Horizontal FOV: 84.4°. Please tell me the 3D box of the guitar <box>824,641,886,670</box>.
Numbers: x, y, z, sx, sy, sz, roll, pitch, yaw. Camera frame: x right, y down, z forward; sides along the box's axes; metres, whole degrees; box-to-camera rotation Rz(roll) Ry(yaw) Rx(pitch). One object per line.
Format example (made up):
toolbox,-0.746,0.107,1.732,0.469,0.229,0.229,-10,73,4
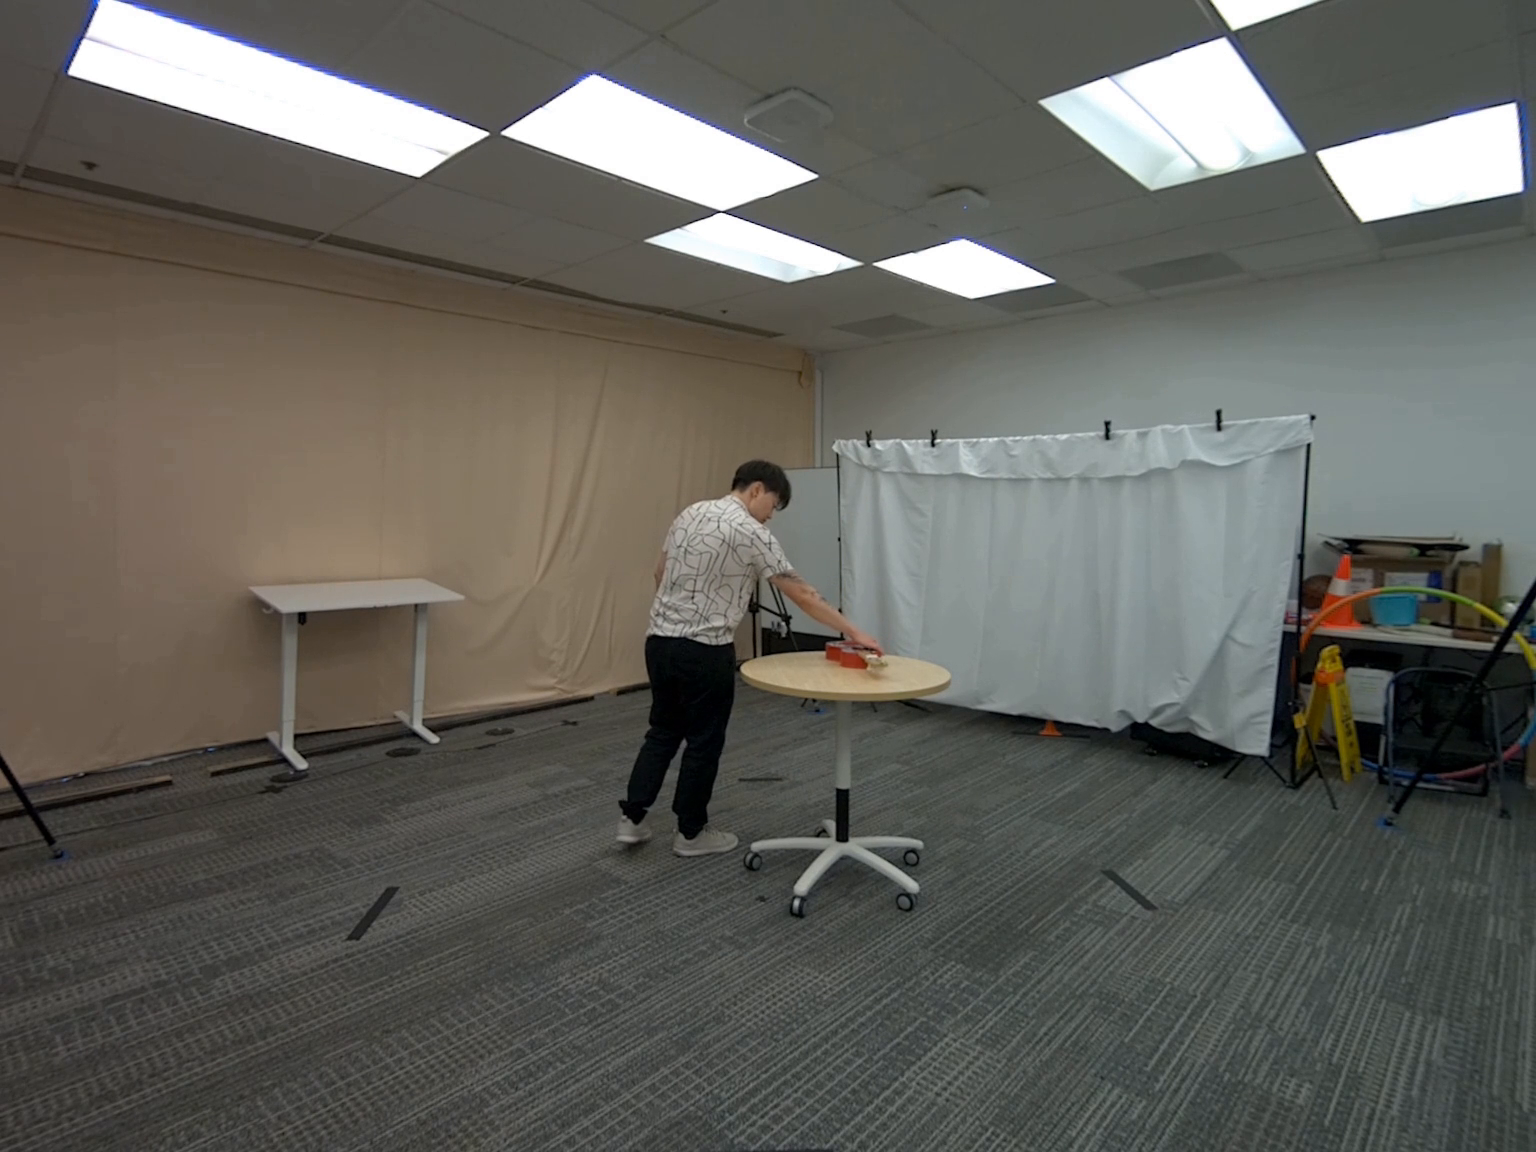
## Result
guitar,0.328,0.309,3.158,0.193,0.070,0.498,2,4,-1
